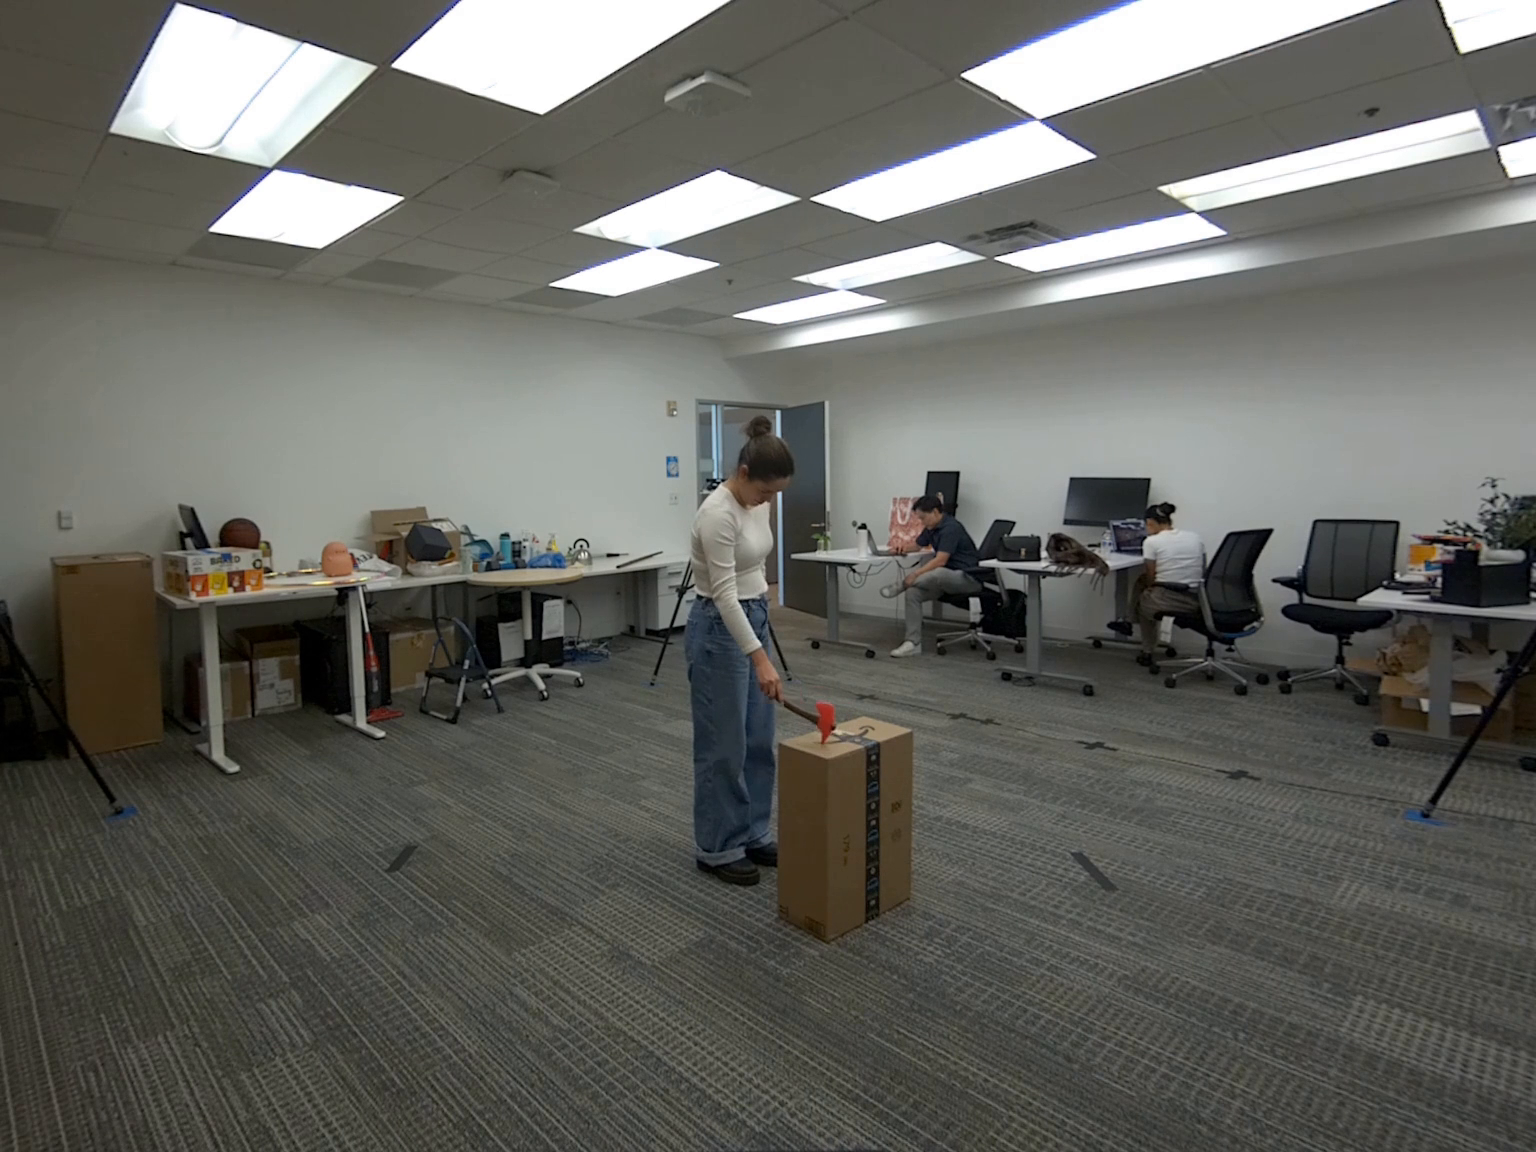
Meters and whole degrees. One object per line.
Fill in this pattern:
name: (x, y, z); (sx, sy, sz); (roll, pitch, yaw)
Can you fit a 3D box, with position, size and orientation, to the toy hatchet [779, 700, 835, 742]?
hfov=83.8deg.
toy hatchet: (0.112, 0.397, 2.703); (0.278, 0.130, 0.029); (40, 28, 24)
